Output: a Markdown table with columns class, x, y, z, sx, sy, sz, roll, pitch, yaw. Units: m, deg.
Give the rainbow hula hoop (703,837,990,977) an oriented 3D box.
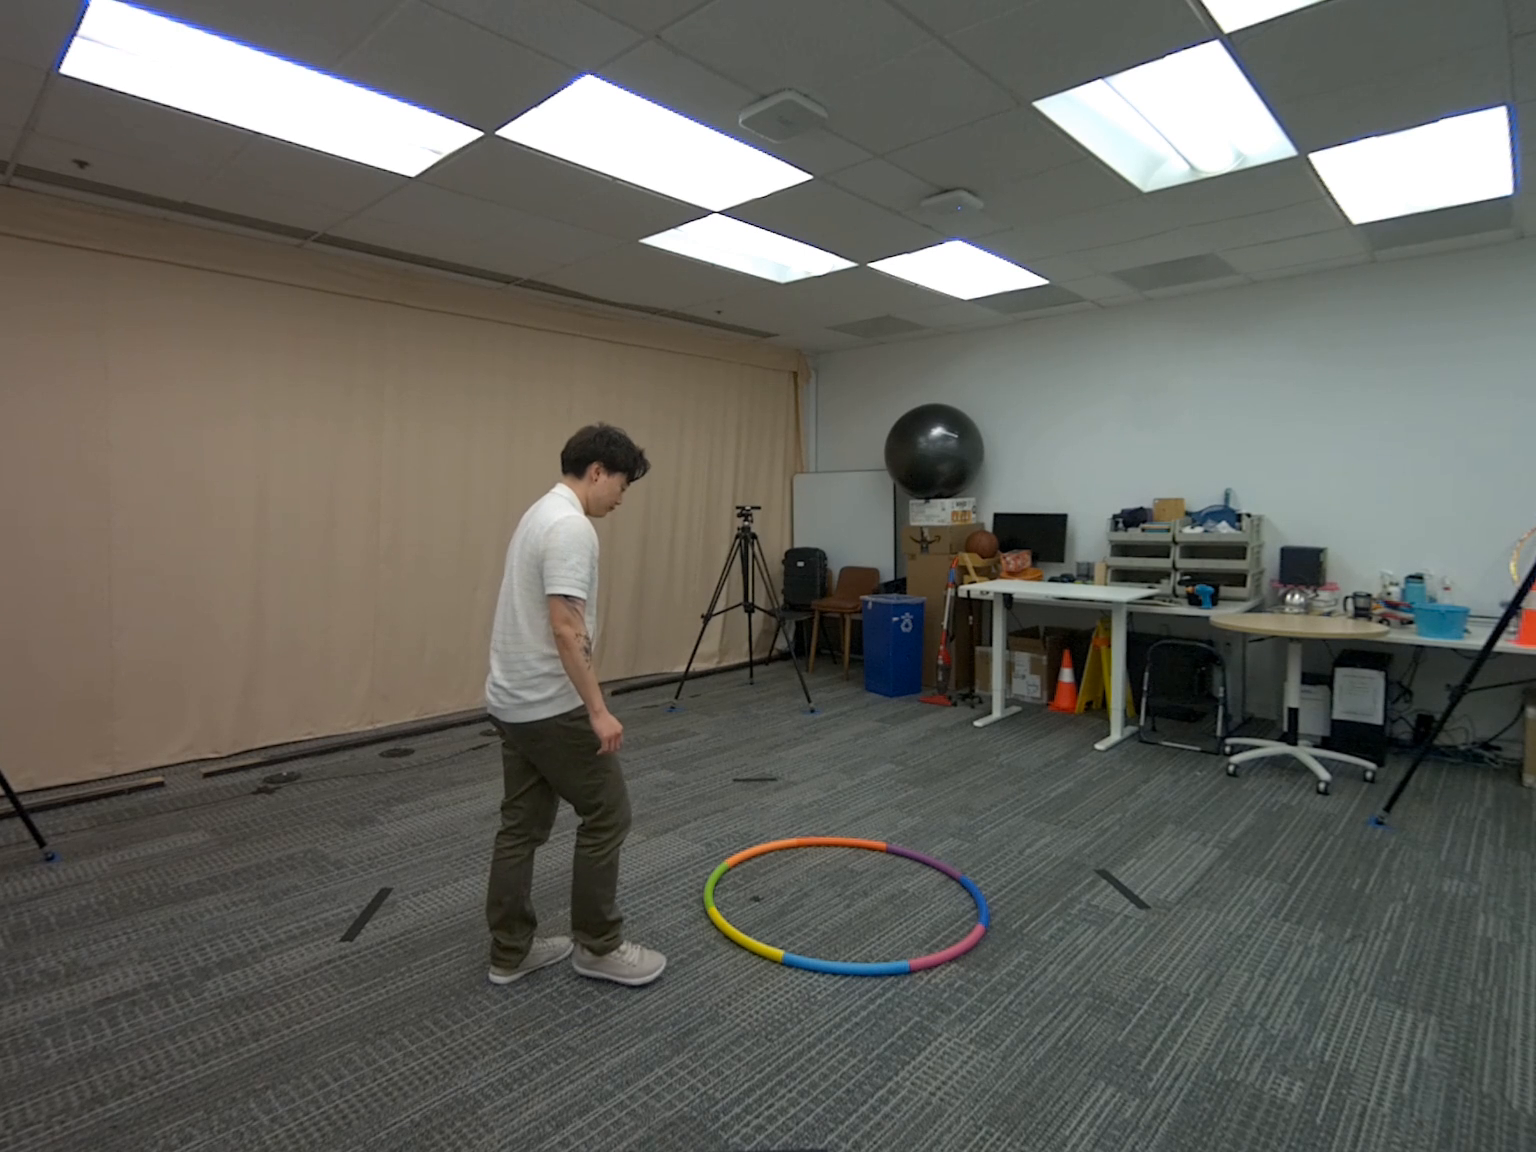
| class | x | y | z | sx | sy | sz | roll | pitch | yaw |
| --- | --- | --- | --- | --- | --- | --- | --- | --- | --- |
| rainbow hula hoop | 0.263 | 1.116 | 2.973 | 0.978 | 0.035 | 0.982 | -1 | 5 | -2 |
